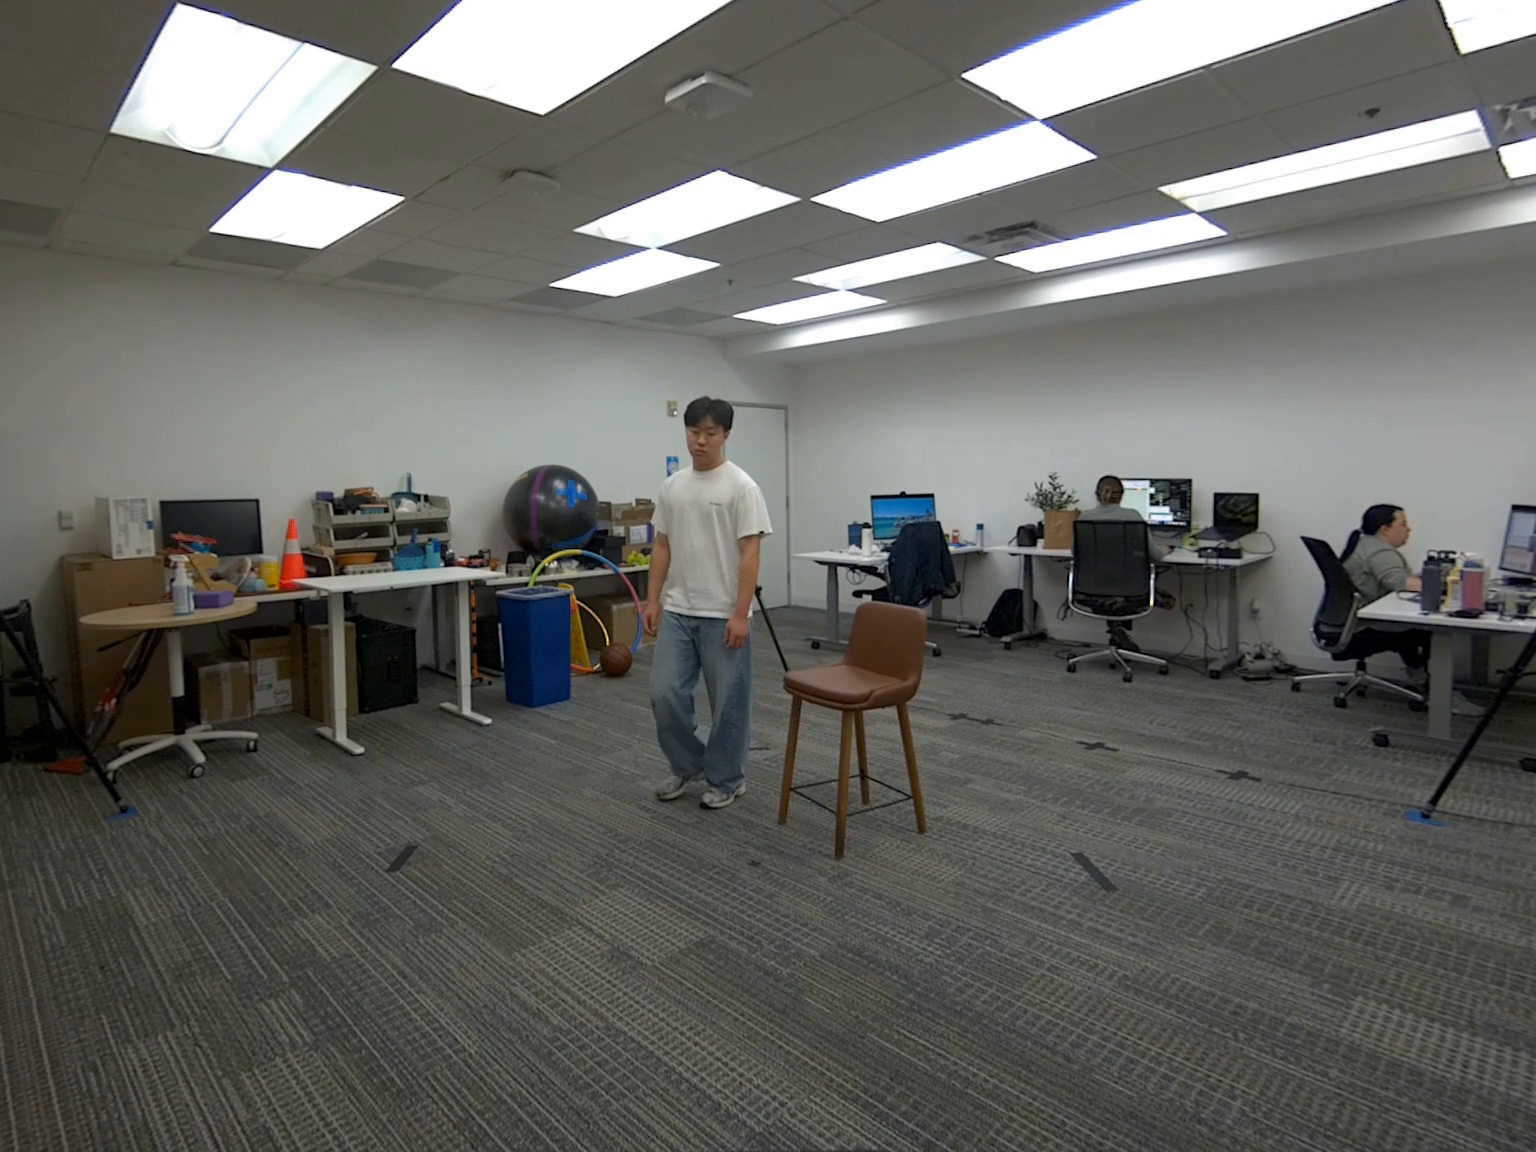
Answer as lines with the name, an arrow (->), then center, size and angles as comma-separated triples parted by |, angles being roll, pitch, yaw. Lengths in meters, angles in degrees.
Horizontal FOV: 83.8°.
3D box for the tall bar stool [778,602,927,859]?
tall bar stool -> 0.340, 0.571, 3.386 | 0.456, 0.887, 0.469 | -1, 4, -32
